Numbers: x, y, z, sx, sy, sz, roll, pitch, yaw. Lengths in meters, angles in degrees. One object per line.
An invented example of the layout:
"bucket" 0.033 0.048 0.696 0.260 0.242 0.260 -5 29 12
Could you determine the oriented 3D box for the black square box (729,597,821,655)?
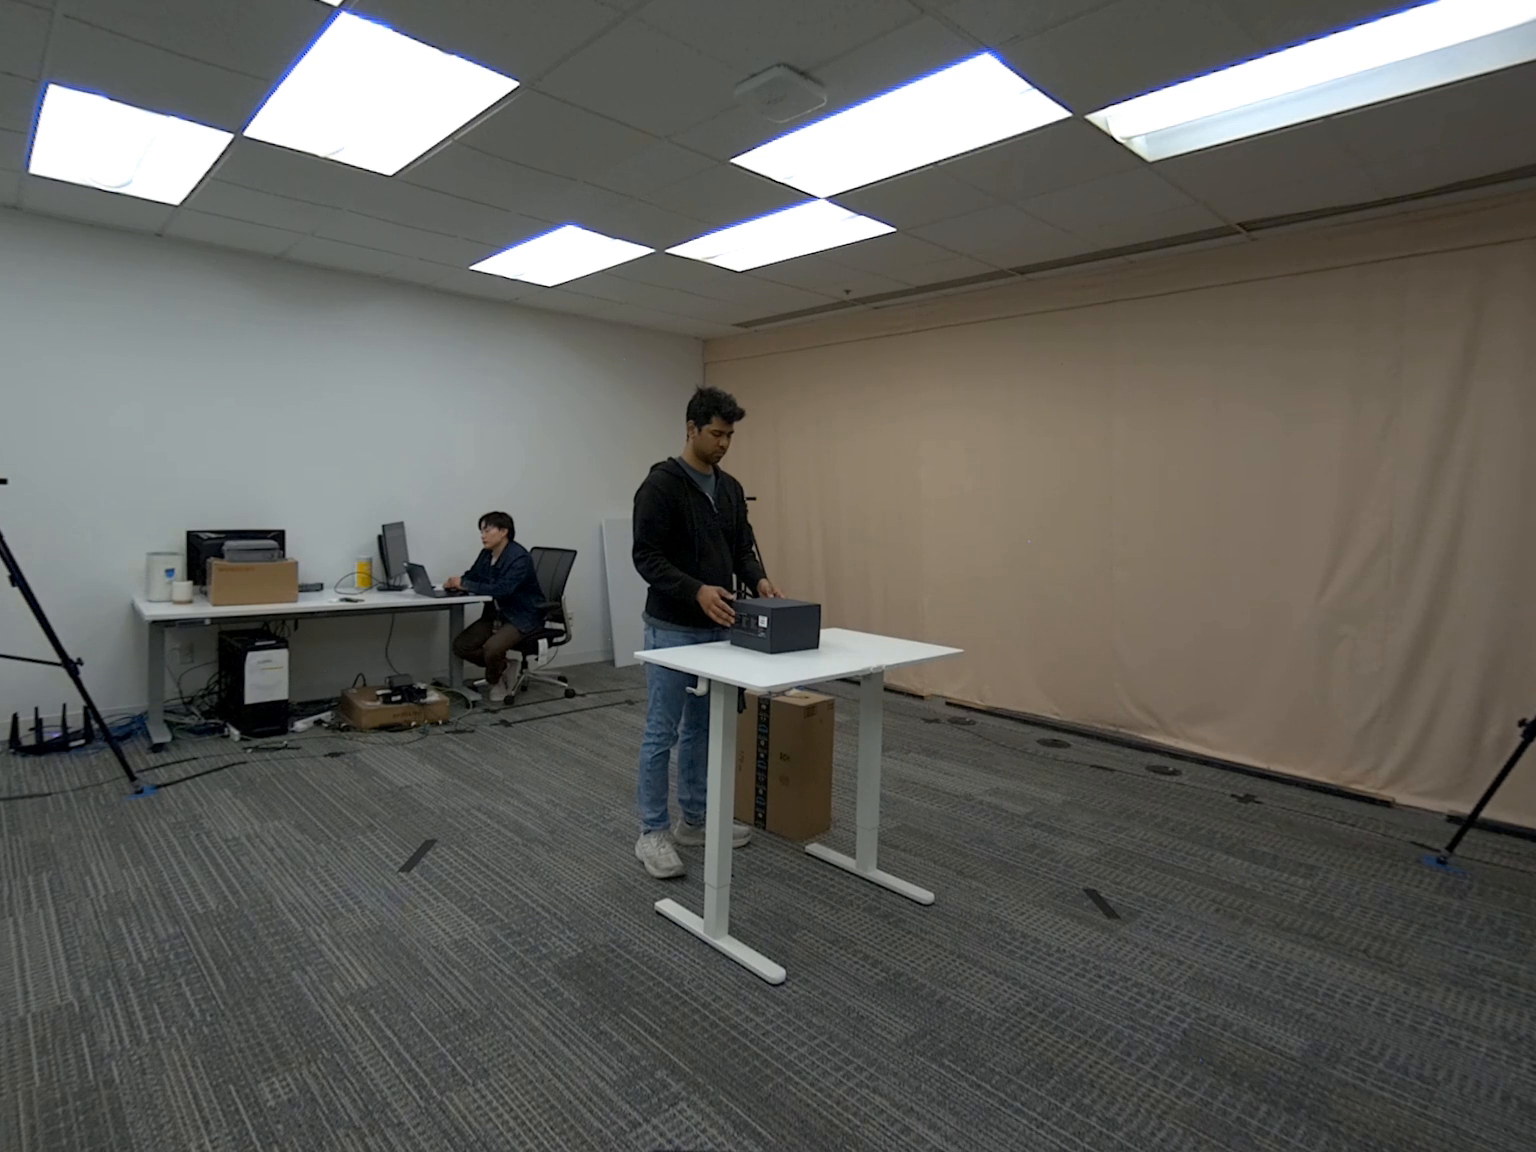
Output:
"black square box" 0.025 0.168 2.900 0.223 0.155 0.222 -2 6 -41
